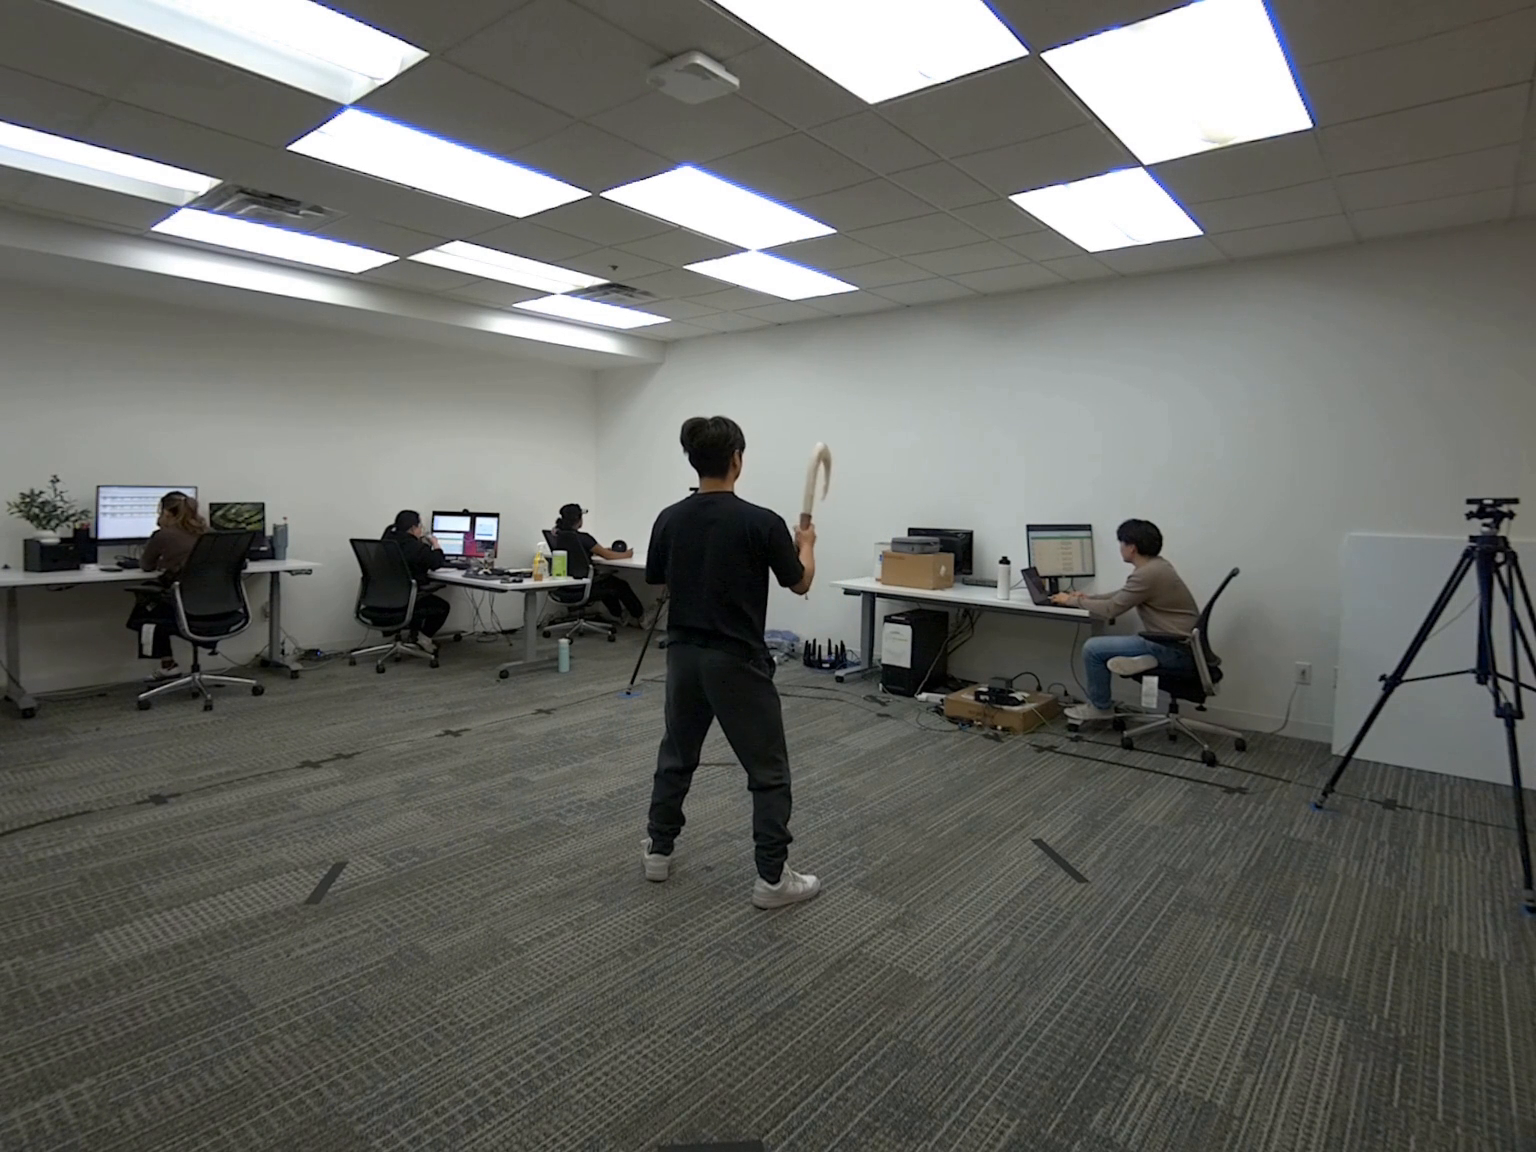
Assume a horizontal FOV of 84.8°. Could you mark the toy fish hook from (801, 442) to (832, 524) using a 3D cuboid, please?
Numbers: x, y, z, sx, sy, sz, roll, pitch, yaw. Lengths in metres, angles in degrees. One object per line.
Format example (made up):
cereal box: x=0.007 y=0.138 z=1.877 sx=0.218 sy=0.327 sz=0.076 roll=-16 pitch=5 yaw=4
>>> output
toy fish hook: x=0.161 y=-0.252 z=3.302 sx=0.050 sy=0.512 sz=0.216 roll=5 pitch=-17 yaw=27
